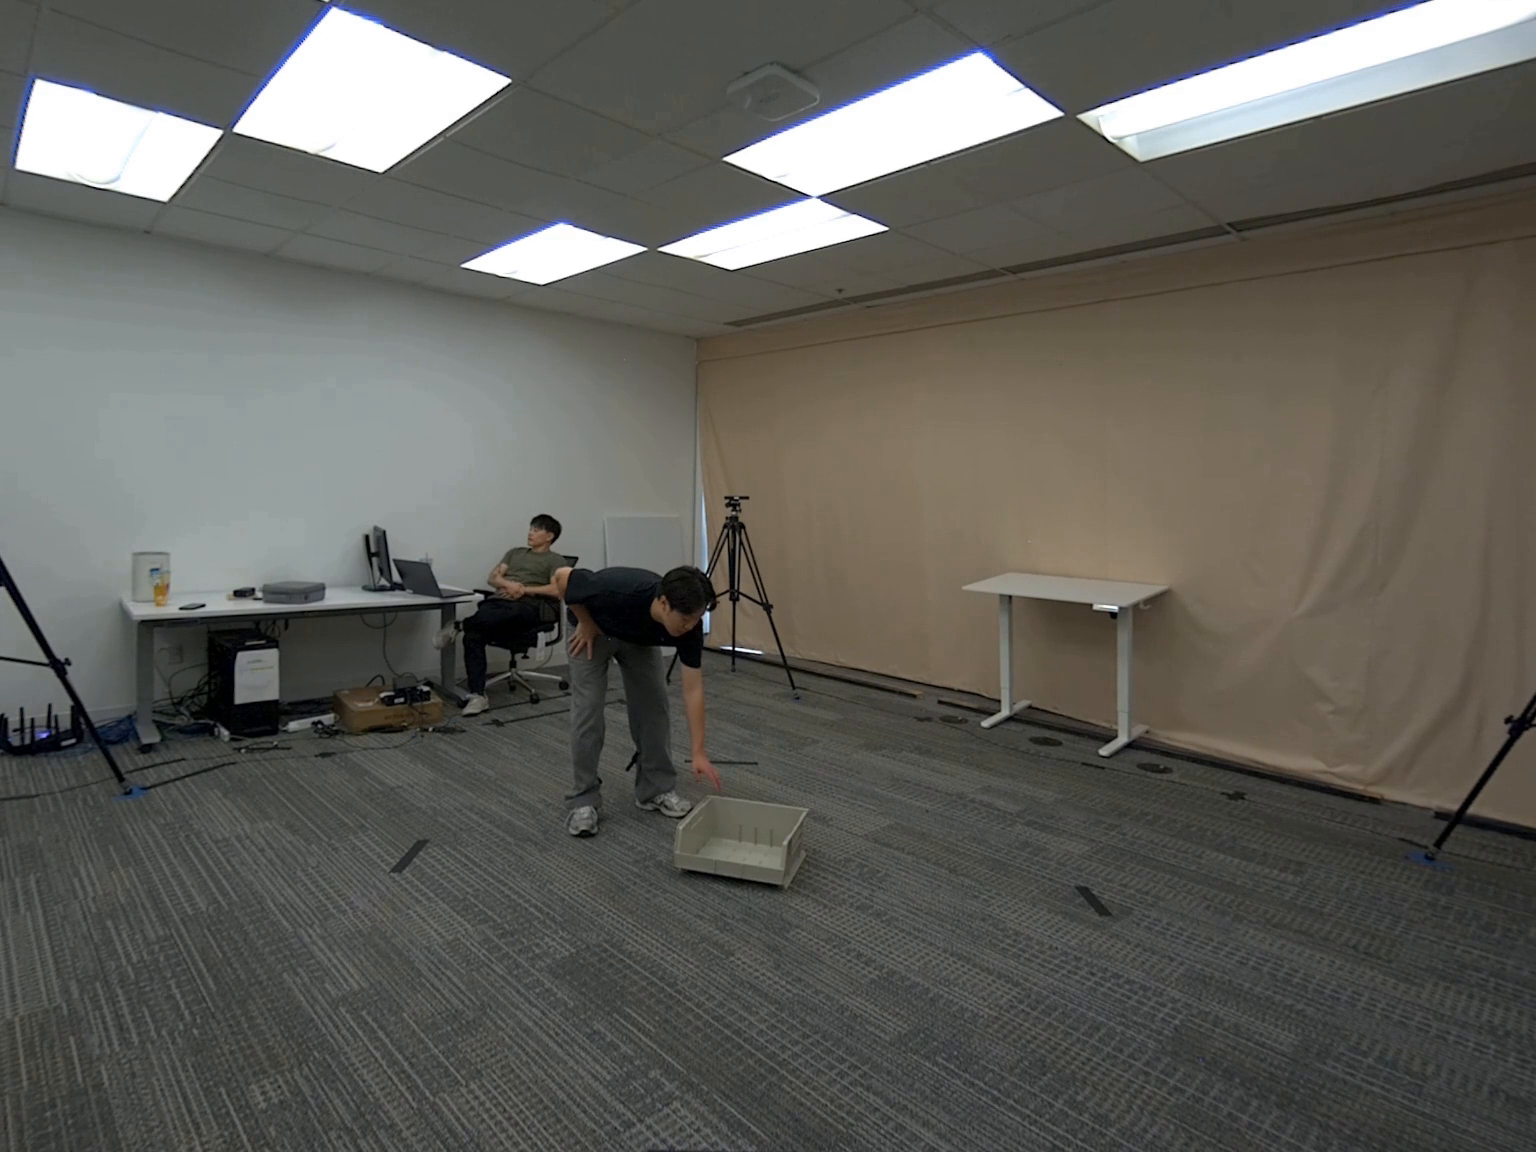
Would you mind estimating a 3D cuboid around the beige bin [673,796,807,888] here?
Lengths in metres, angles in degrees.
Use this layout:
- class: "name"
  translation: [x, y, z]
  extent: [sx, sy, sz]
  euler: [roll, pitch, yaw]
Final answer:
- class: "beige bin"
  translation: [-0.098, 1.009, 3.188]
  extent: [0.428, 0.188, 0.373]
  euler: [2, 4, 16]
